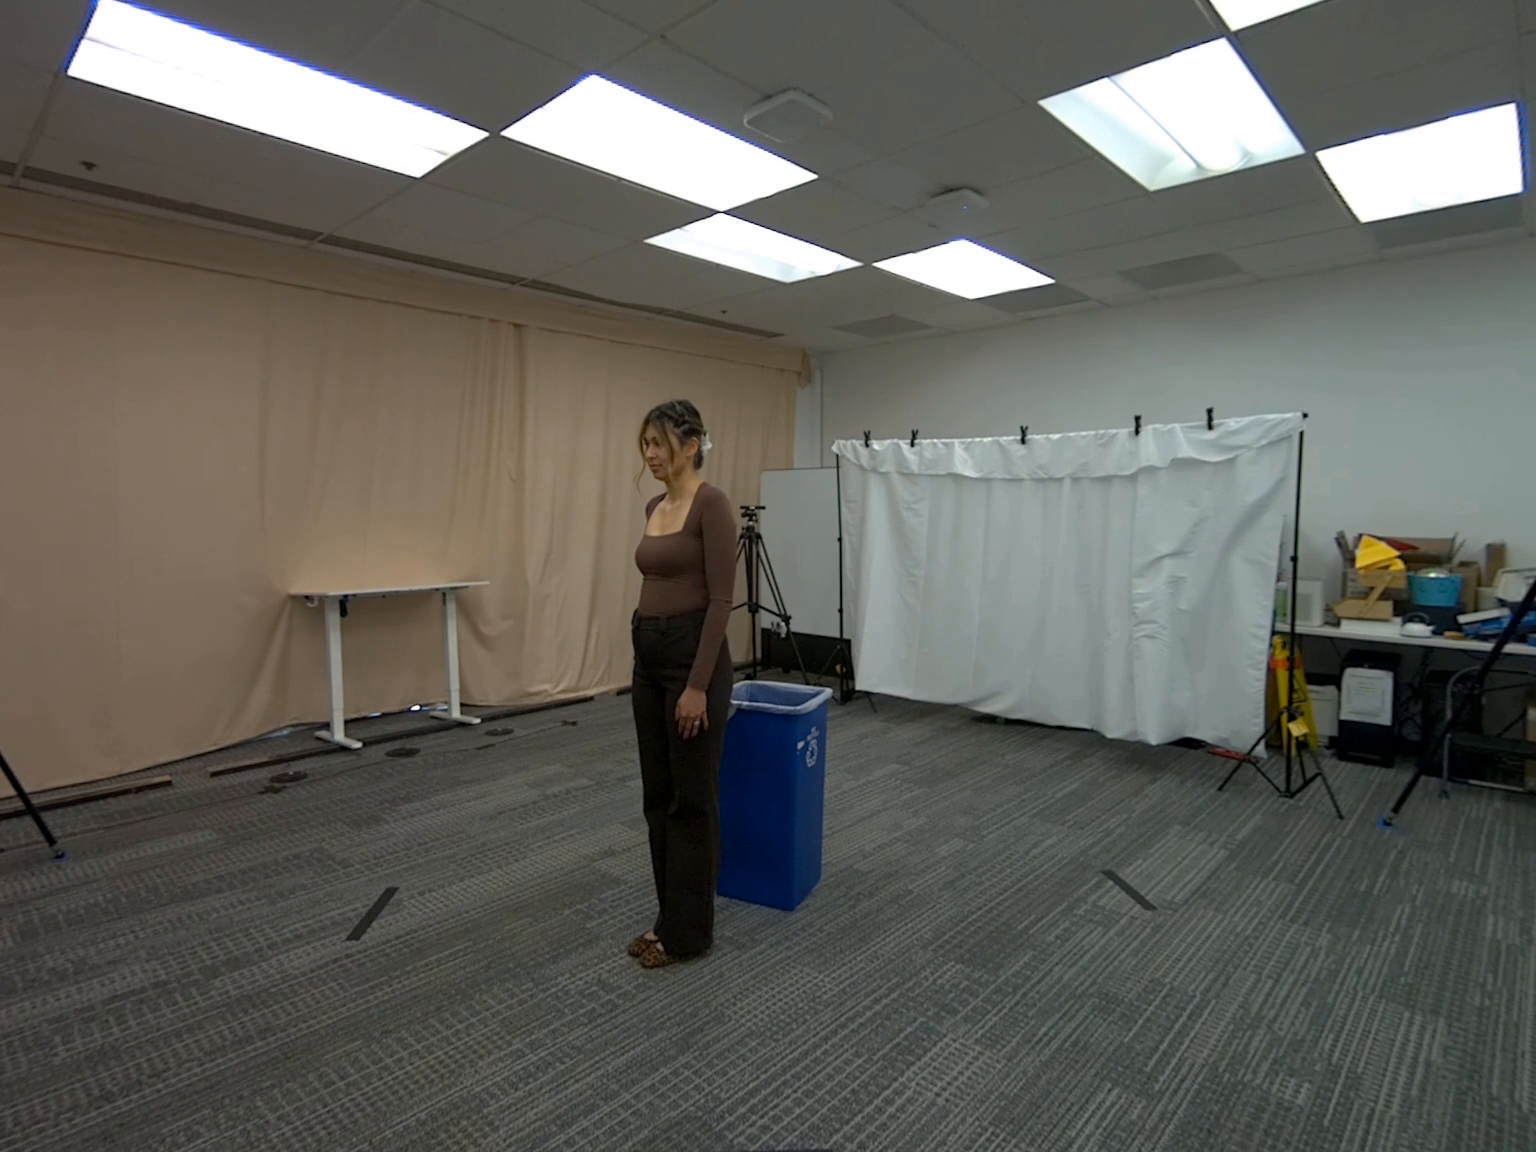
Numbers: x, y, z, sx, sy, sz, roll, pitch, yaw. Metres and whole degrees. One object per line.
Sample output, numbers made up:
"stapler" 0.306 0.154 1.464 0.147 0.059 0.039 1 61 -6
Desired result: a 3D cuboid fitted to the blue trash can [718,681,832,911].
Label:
"blue trash can" 0.005 0.778 3.062 0.383 0.712 0.369 3 4 24
